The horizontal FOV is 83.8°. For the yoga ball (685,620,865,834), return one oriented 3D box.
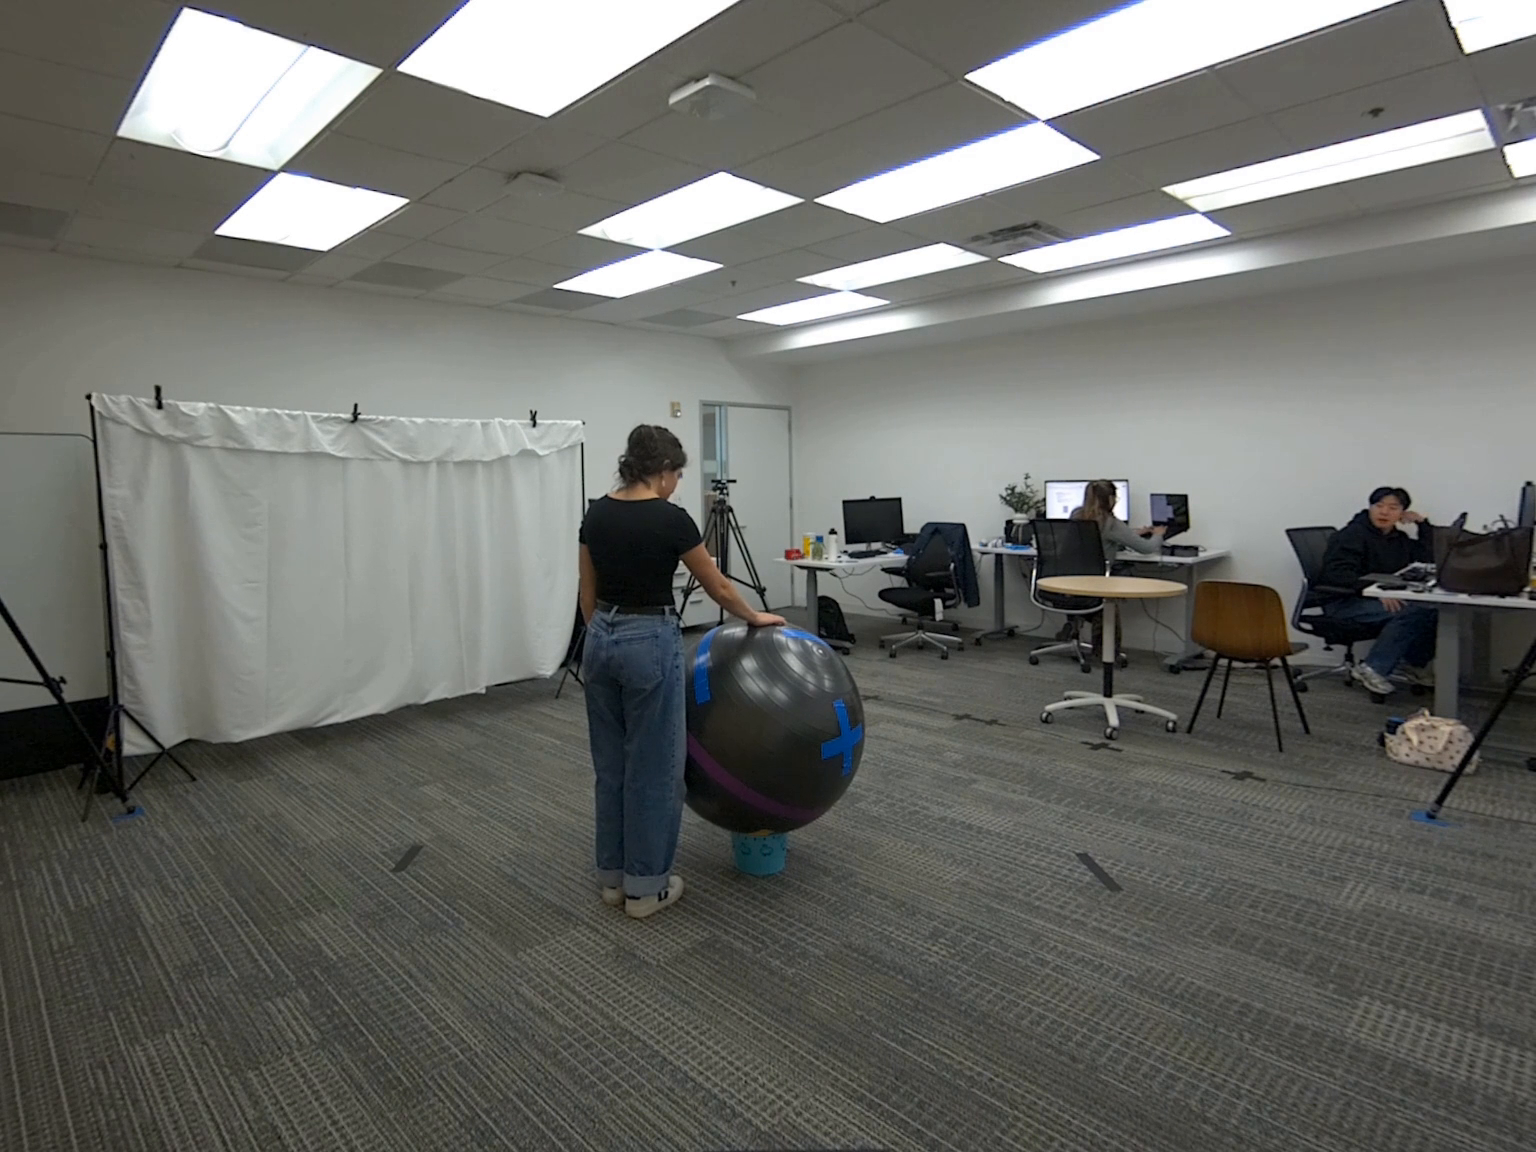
[{"bbox_3d":[-0.029,0.538,3.085,0.757,0.755,0.762,-1,5,-2],"label":"yoga ball"}]
